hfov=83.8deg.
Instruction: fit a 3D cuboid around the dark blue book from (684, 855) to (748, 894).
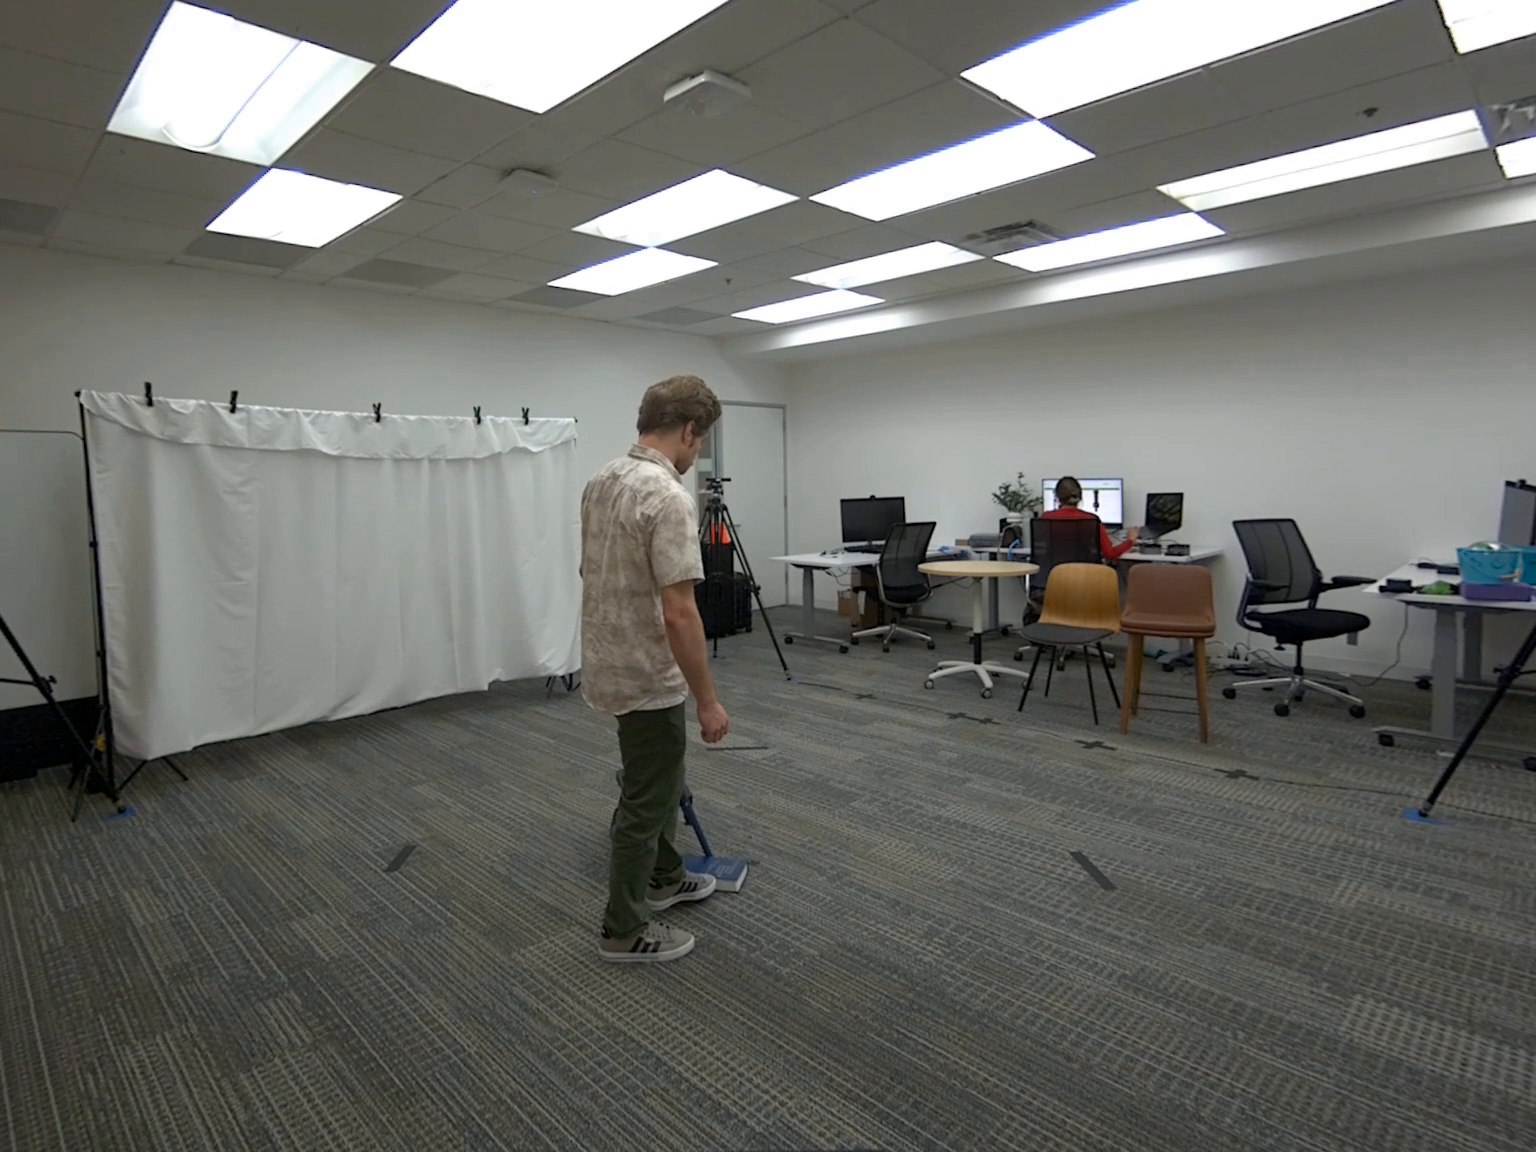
[{"bbox_3d":[-0.198,1.036,2.981,0.248,0.045,0.162,1,6,13],"label":"dark blue book"}]
